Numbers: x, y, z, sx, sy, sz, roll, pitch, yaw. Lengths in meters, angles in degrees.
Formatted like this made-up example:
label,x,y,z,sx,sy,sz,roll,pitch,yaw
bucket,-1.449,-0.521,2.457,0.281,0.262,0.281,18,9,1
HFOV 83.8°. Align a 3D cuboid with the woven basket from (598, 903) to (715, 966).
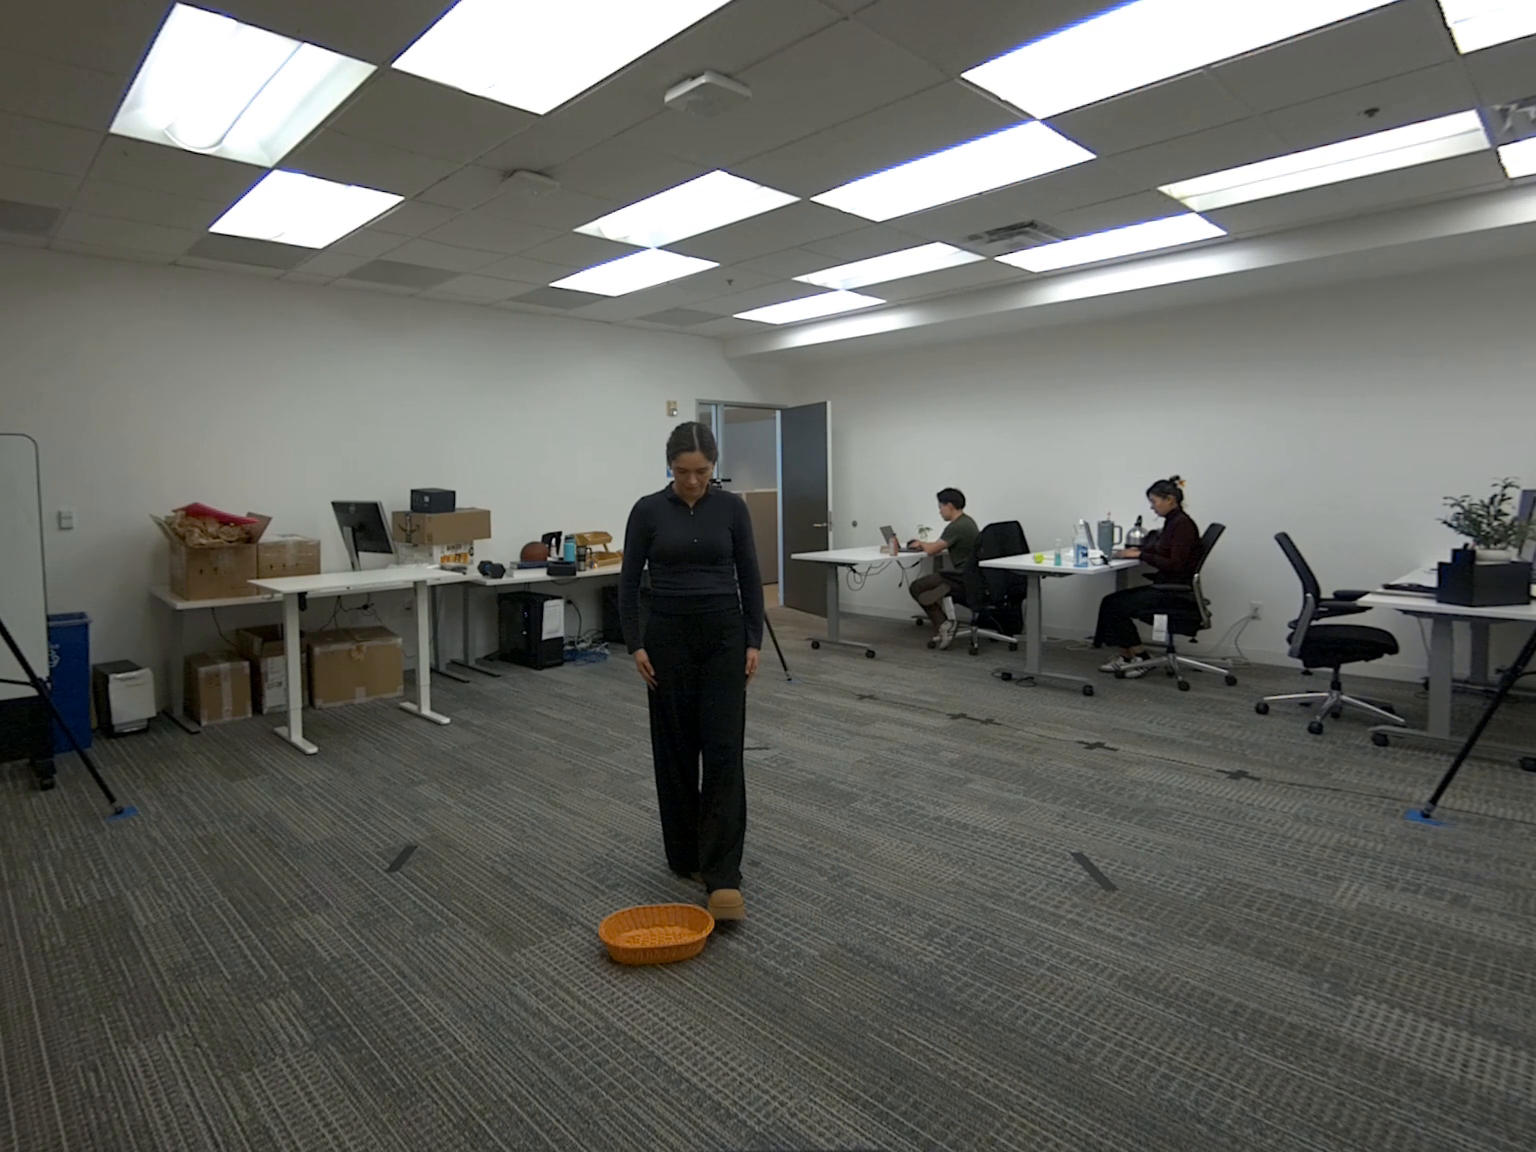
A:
label,x,y,z,sx,sy,sz,roll,pitch,yaw
woven basket,-0.330,1.075,2.556,0.347,0.073,0.255,-2,5,-9
